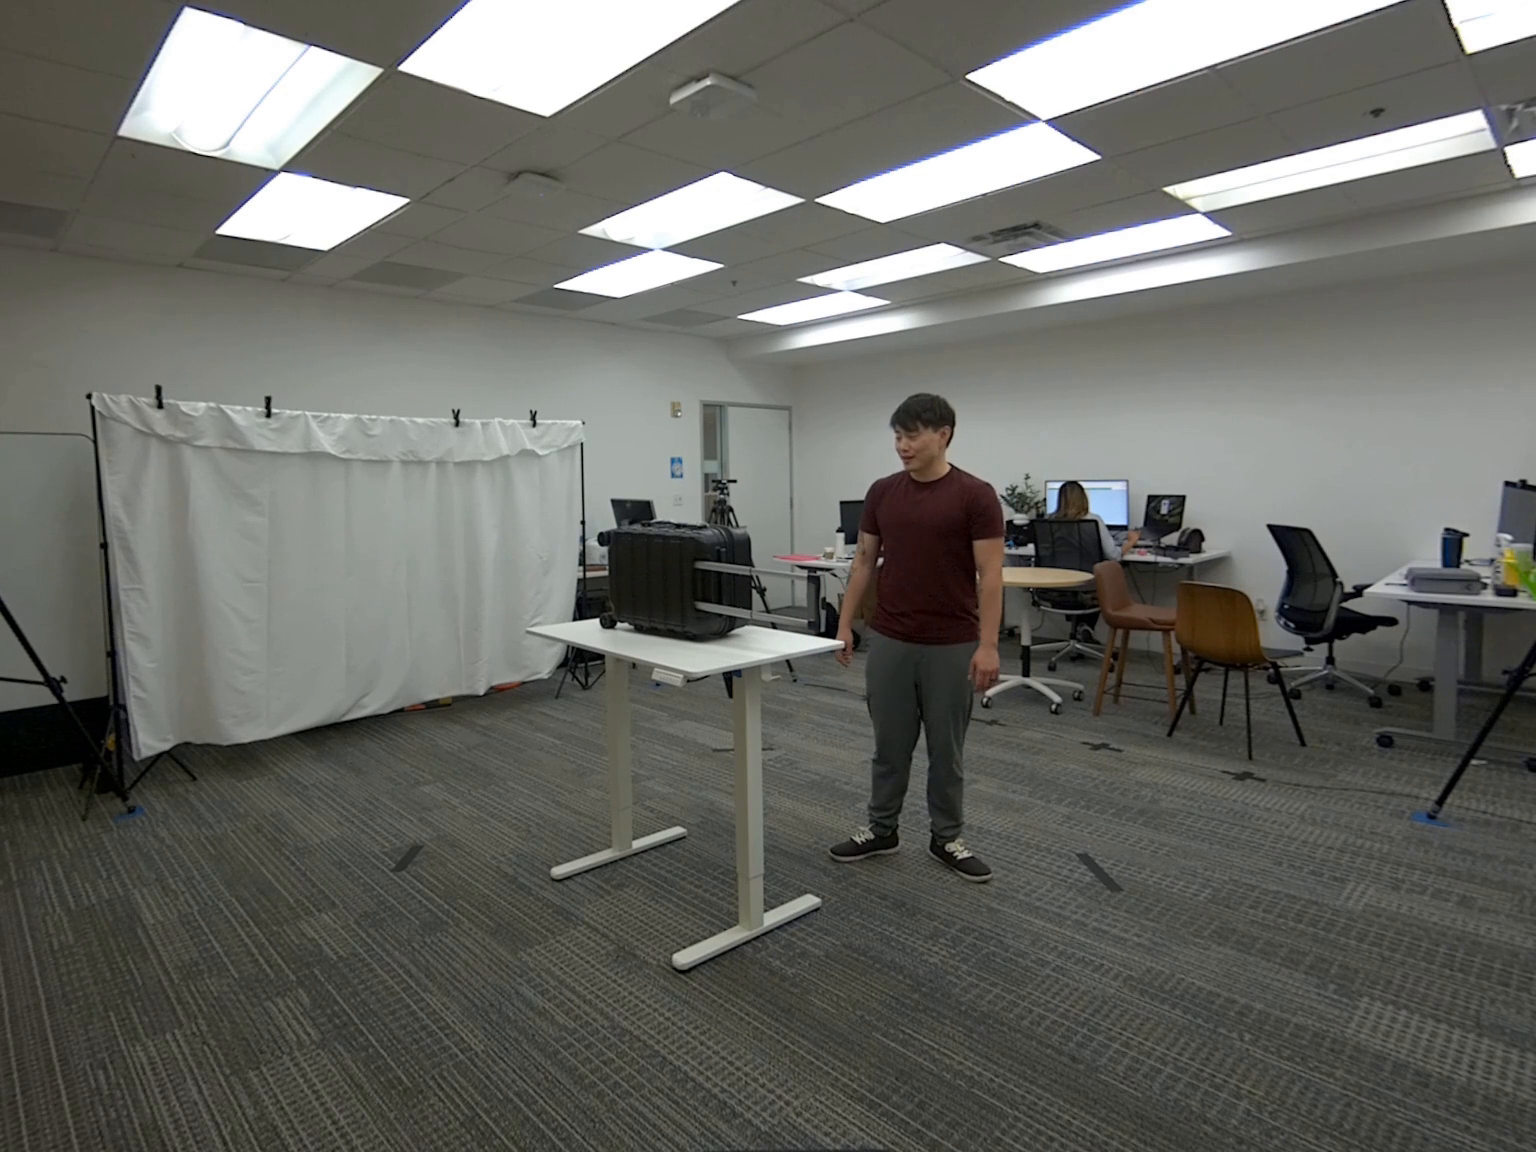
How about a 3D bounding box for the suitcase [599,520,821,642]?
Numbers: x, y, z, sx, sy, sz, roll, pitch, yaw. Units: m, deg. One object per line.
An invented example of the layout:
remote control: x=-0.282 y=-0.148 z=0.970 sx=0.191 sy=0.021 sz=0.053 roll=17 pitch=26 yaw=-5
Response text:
suitcase: x=-0.156 y=0.022 z=2.770 sx=1.009 sy=0.383 sz=0.250 roll=4 pitch=5 yaw=41
